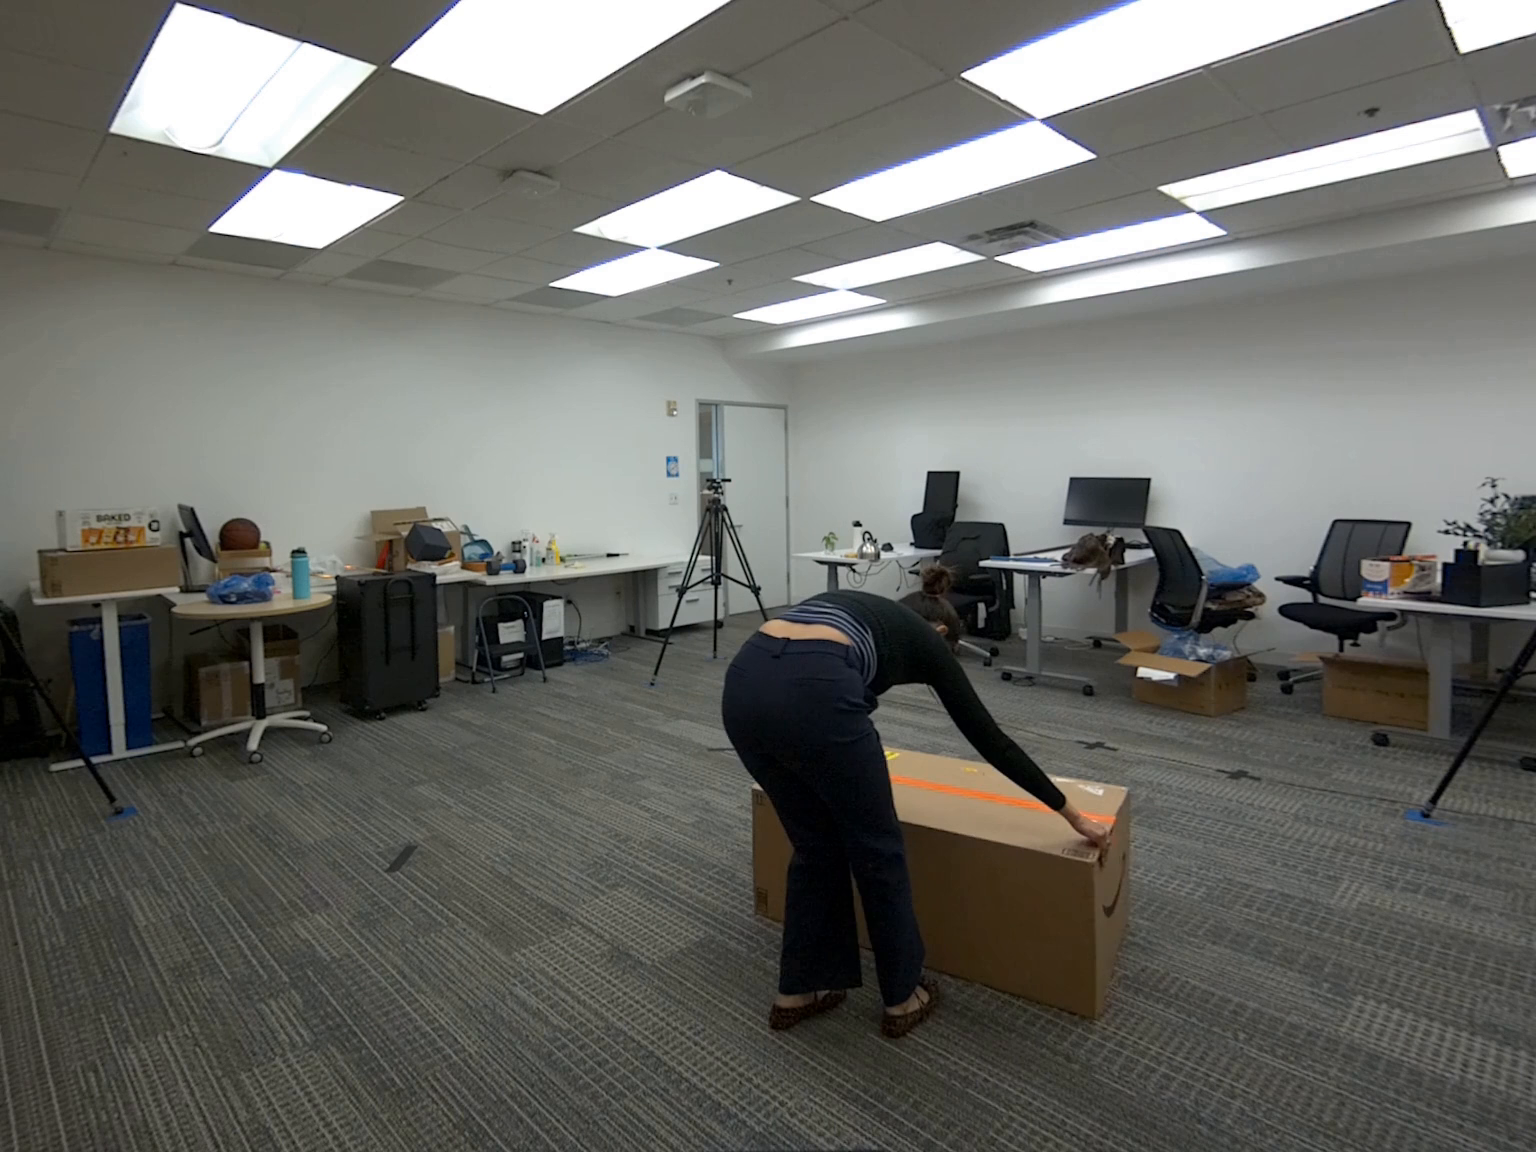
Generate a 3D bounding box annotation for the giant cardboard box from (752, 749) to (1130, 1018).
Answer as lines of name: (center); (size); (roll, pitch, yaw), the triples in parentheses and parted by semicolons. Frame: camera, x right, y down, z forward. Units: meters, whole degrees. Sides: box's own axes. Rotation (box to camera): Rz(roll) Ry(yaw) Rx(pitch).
giant cardboard box: (0.529, 0.865, 2.677); (1.054, 0.424, 0.564); (3, 7, 33)
